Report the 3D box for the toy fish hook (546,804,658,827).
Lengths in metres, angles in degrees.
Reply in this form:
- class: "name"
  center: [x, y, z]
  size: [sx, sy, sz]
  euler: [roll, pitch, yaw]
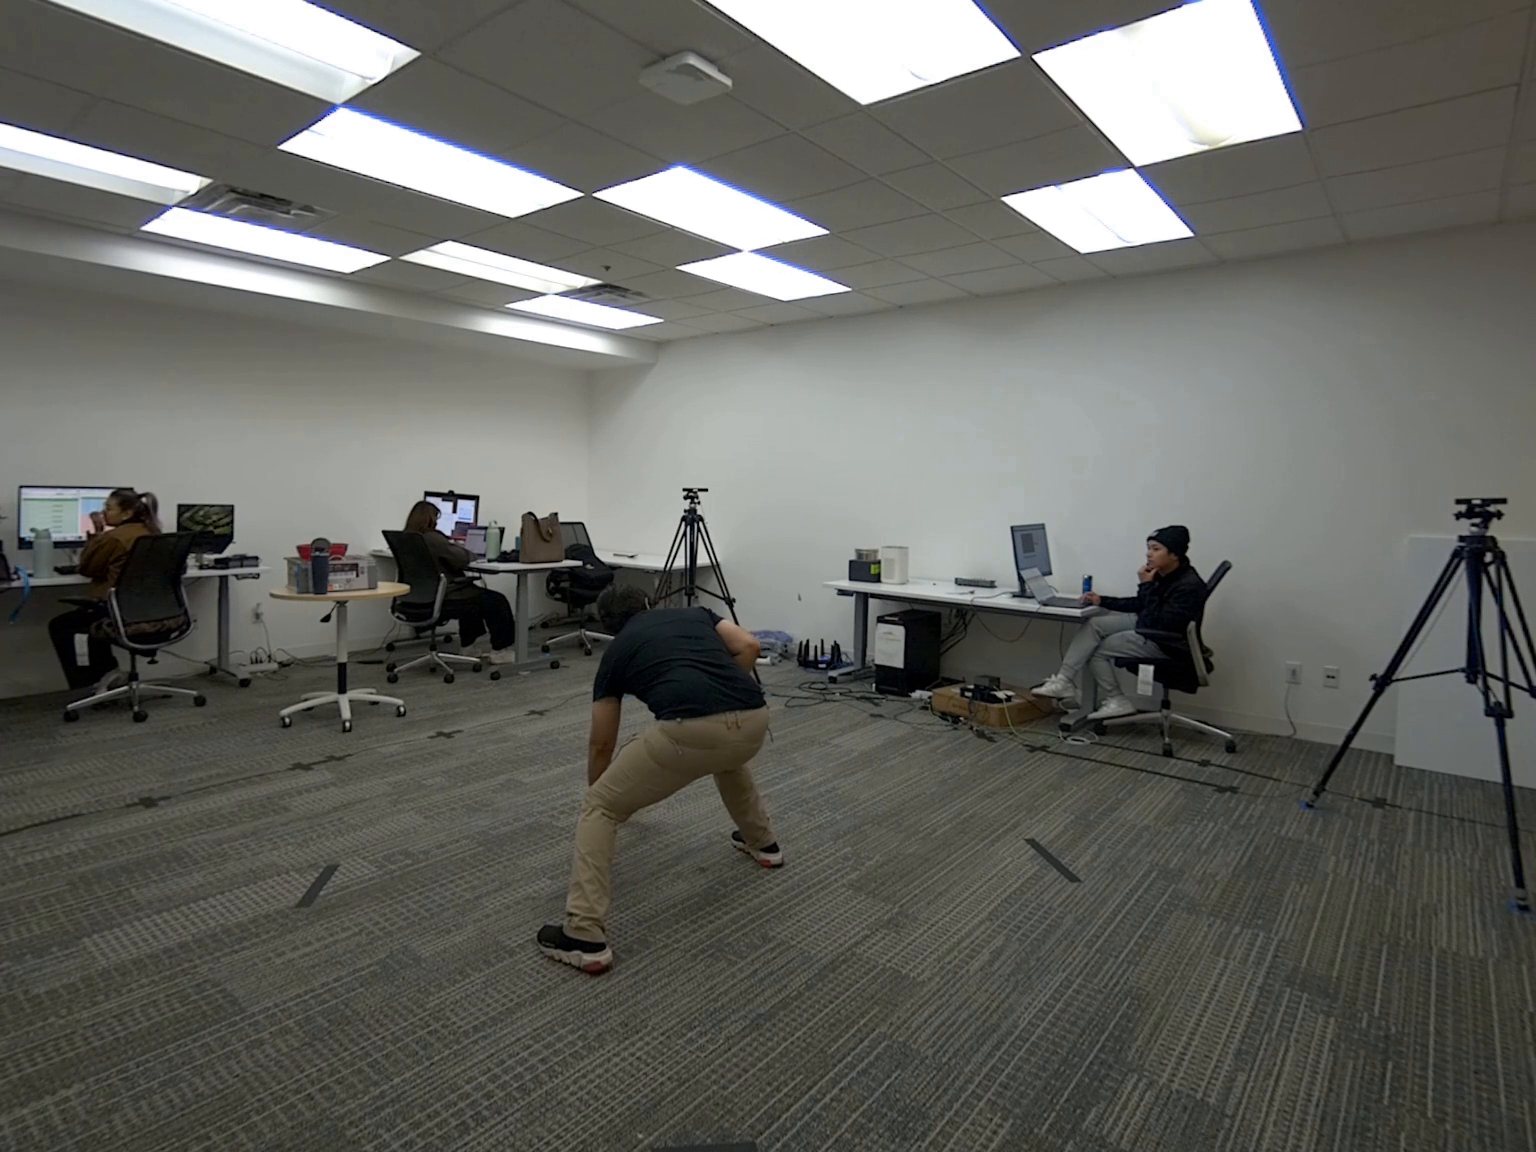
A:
- class: "toy fish hook"
  center: [-0.646, 0.926, 3.329]
  size: [0.228, 0.049, 0.492]
  euler: [-10, -12, 16]
